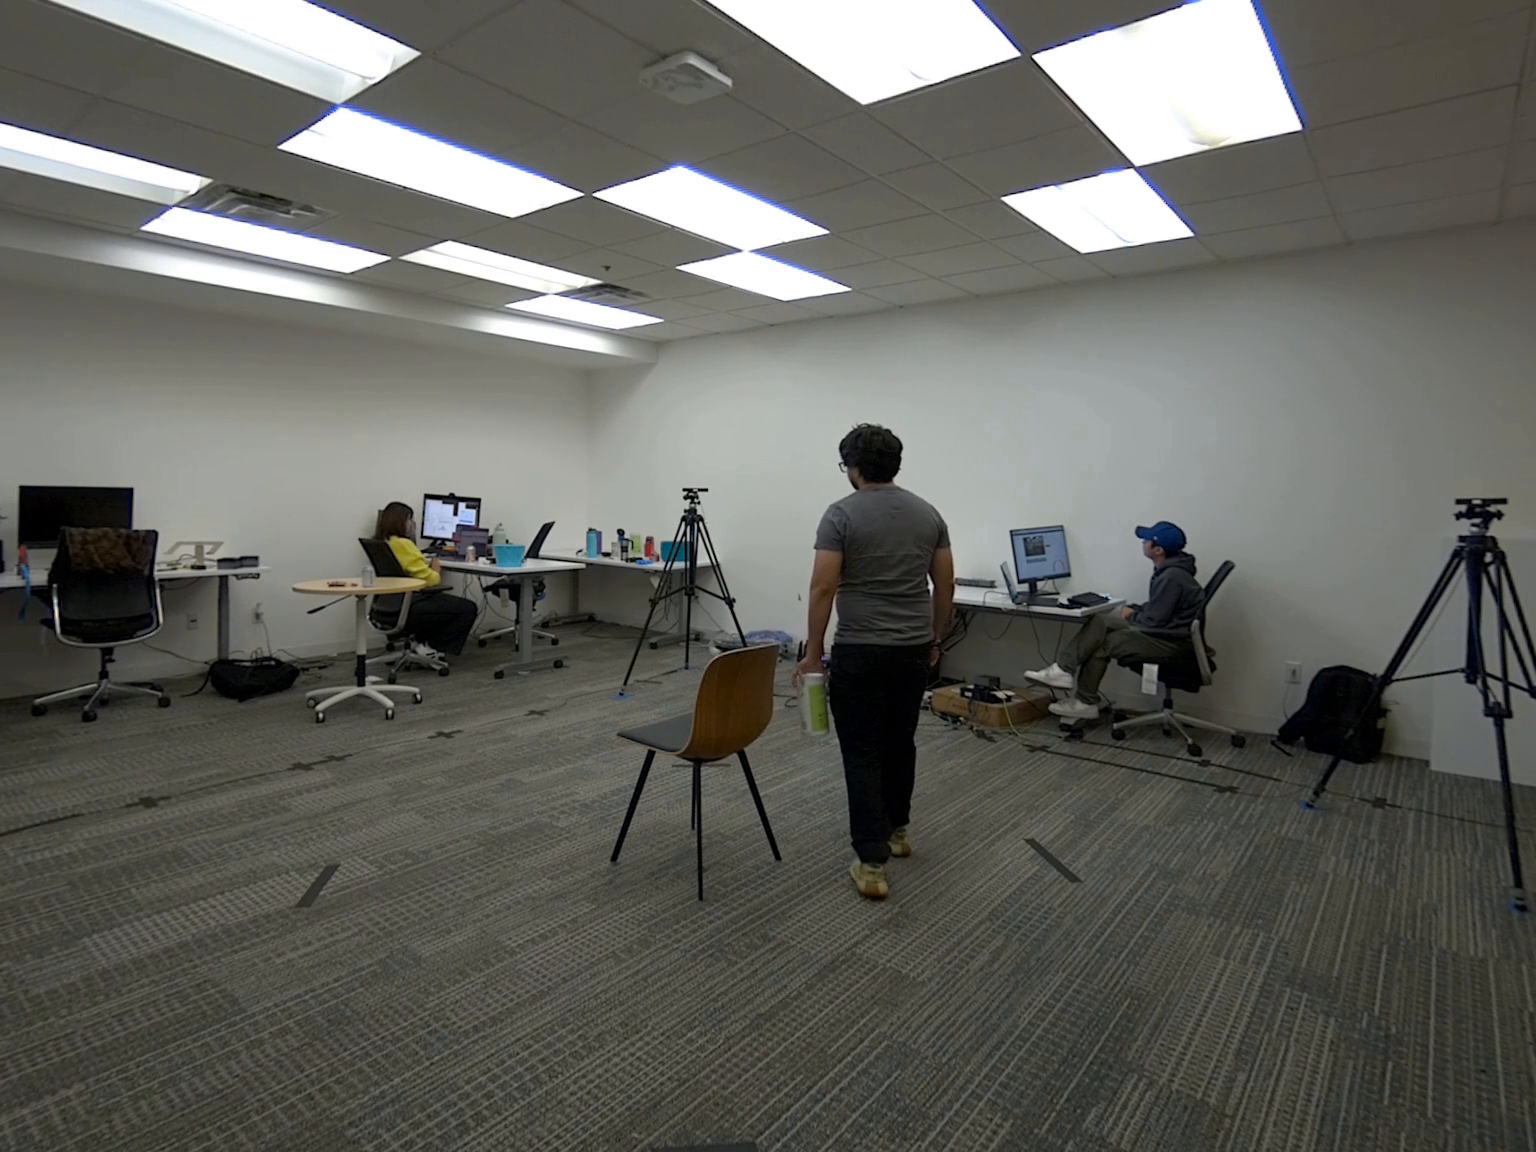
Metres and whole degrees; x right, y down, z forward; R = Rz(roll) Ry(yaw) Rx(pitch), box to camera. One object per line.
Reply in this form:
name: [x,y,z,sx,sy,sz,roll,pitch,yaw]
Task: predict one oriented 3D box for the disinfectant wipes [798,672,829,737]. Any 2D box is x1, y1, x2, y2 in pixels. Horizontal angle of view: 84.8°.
disinfectant wipes: [0.153,0.476,3.129,0.118,0.217,0.118,-5,3,-1]
